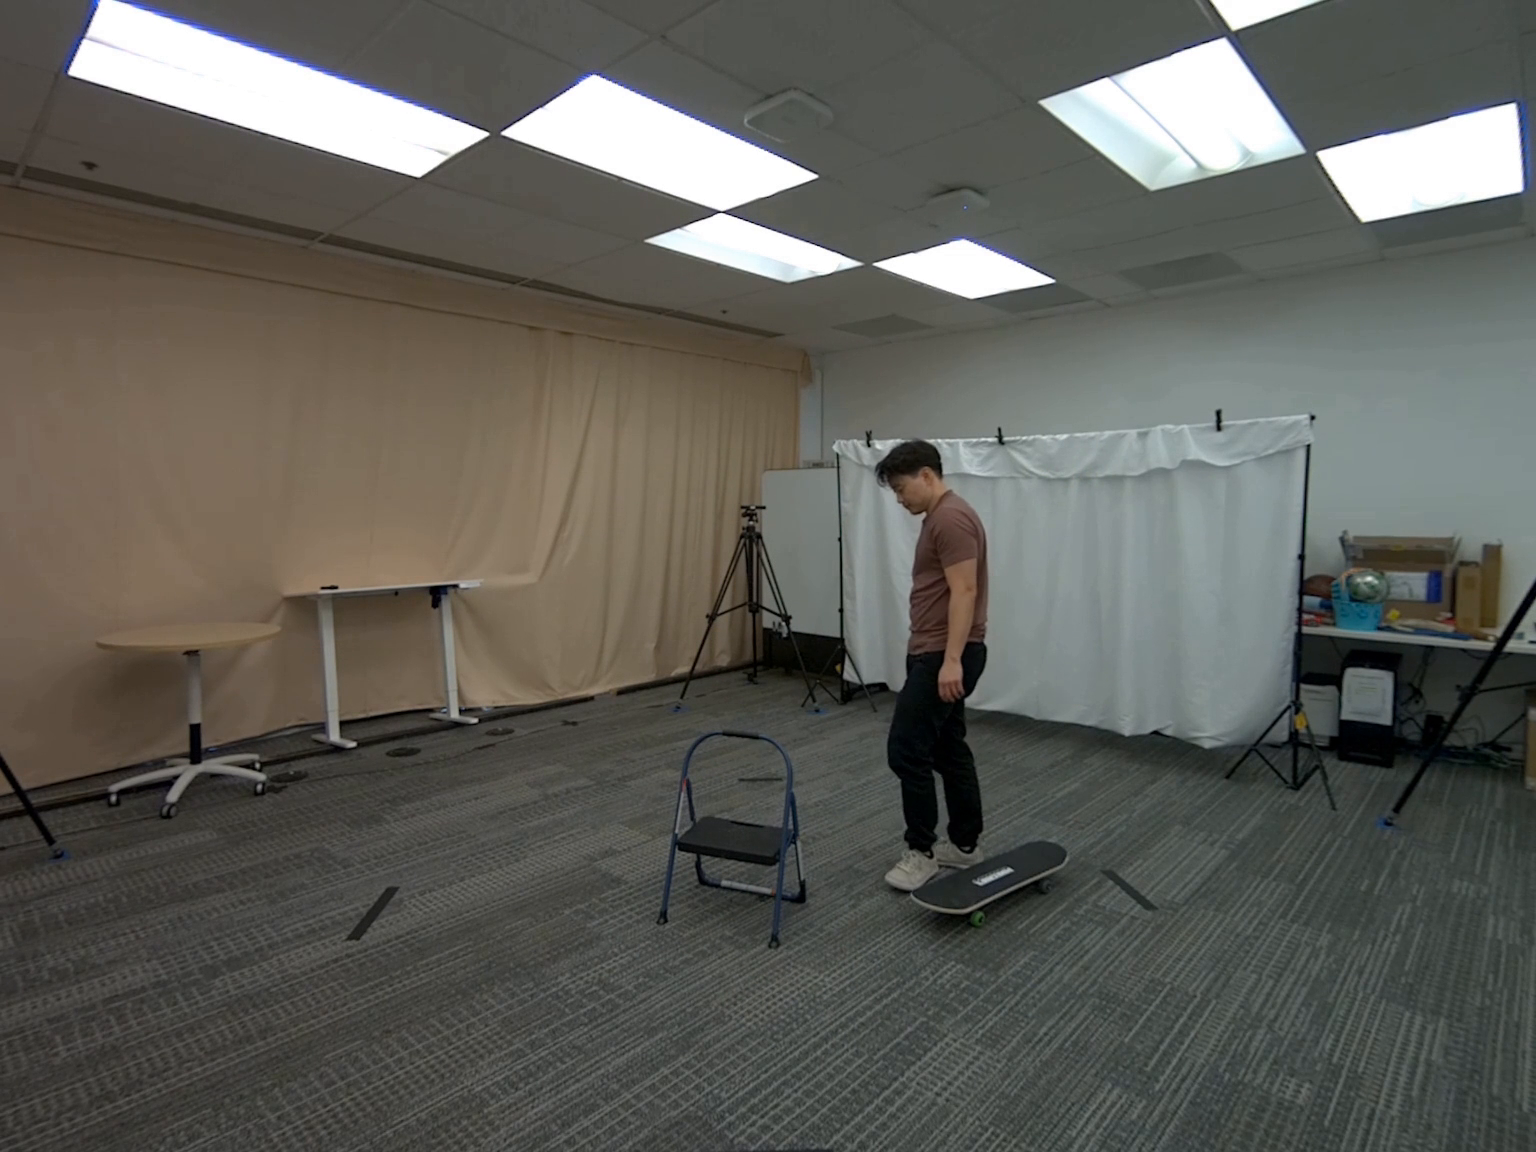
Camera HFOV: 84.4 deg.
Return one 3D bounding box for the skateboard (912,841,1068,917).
[{"bbox_3d":[0.795,1.093,2.950,0.762,0.110,0.200,-4,6,-38],"label":"skateboard"}]
